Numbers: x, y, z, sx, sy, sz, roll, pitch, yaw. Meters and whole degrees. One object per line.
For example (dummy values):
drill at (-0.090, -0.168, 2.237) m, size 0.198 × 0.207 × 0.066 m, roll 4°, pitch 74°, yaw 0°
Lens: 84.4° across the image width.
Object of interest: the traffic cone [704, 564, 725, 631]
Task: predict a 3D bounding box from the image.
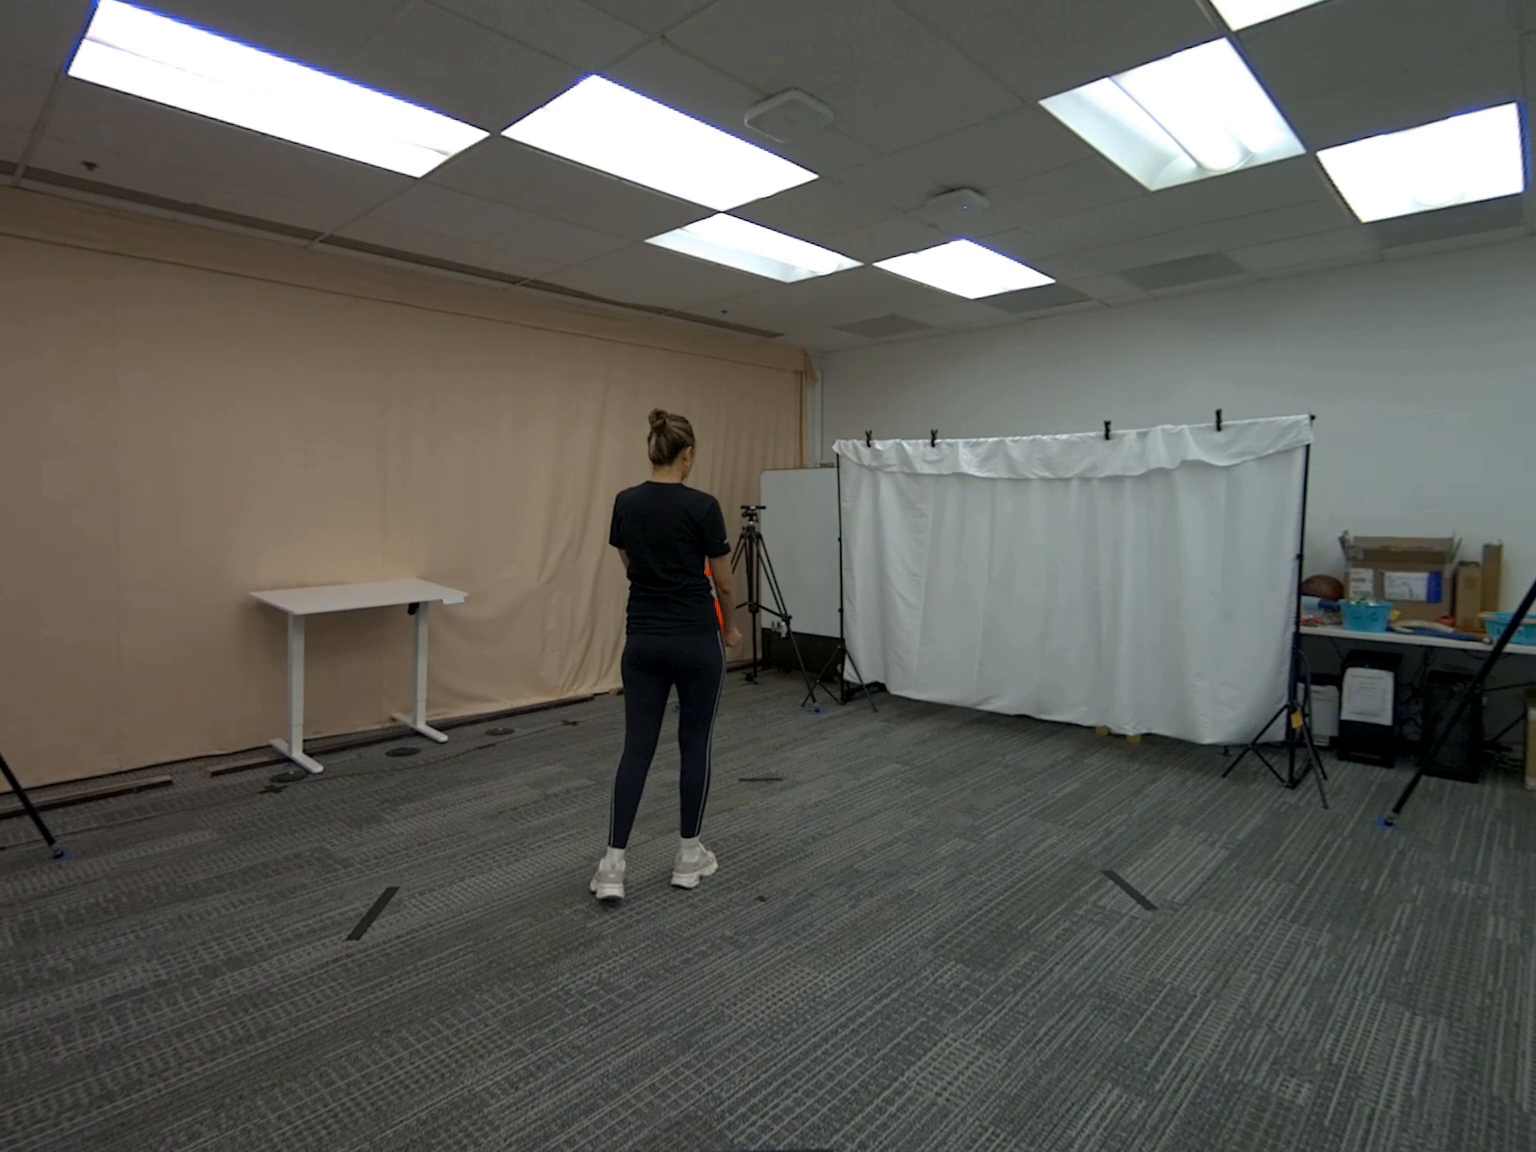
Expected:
traffic cone at (-0.232, 0.061, 3.340) m, size 0.208 × 0.380 × 0.201 m, roll 4°, pitch 14°, yaw 24°
